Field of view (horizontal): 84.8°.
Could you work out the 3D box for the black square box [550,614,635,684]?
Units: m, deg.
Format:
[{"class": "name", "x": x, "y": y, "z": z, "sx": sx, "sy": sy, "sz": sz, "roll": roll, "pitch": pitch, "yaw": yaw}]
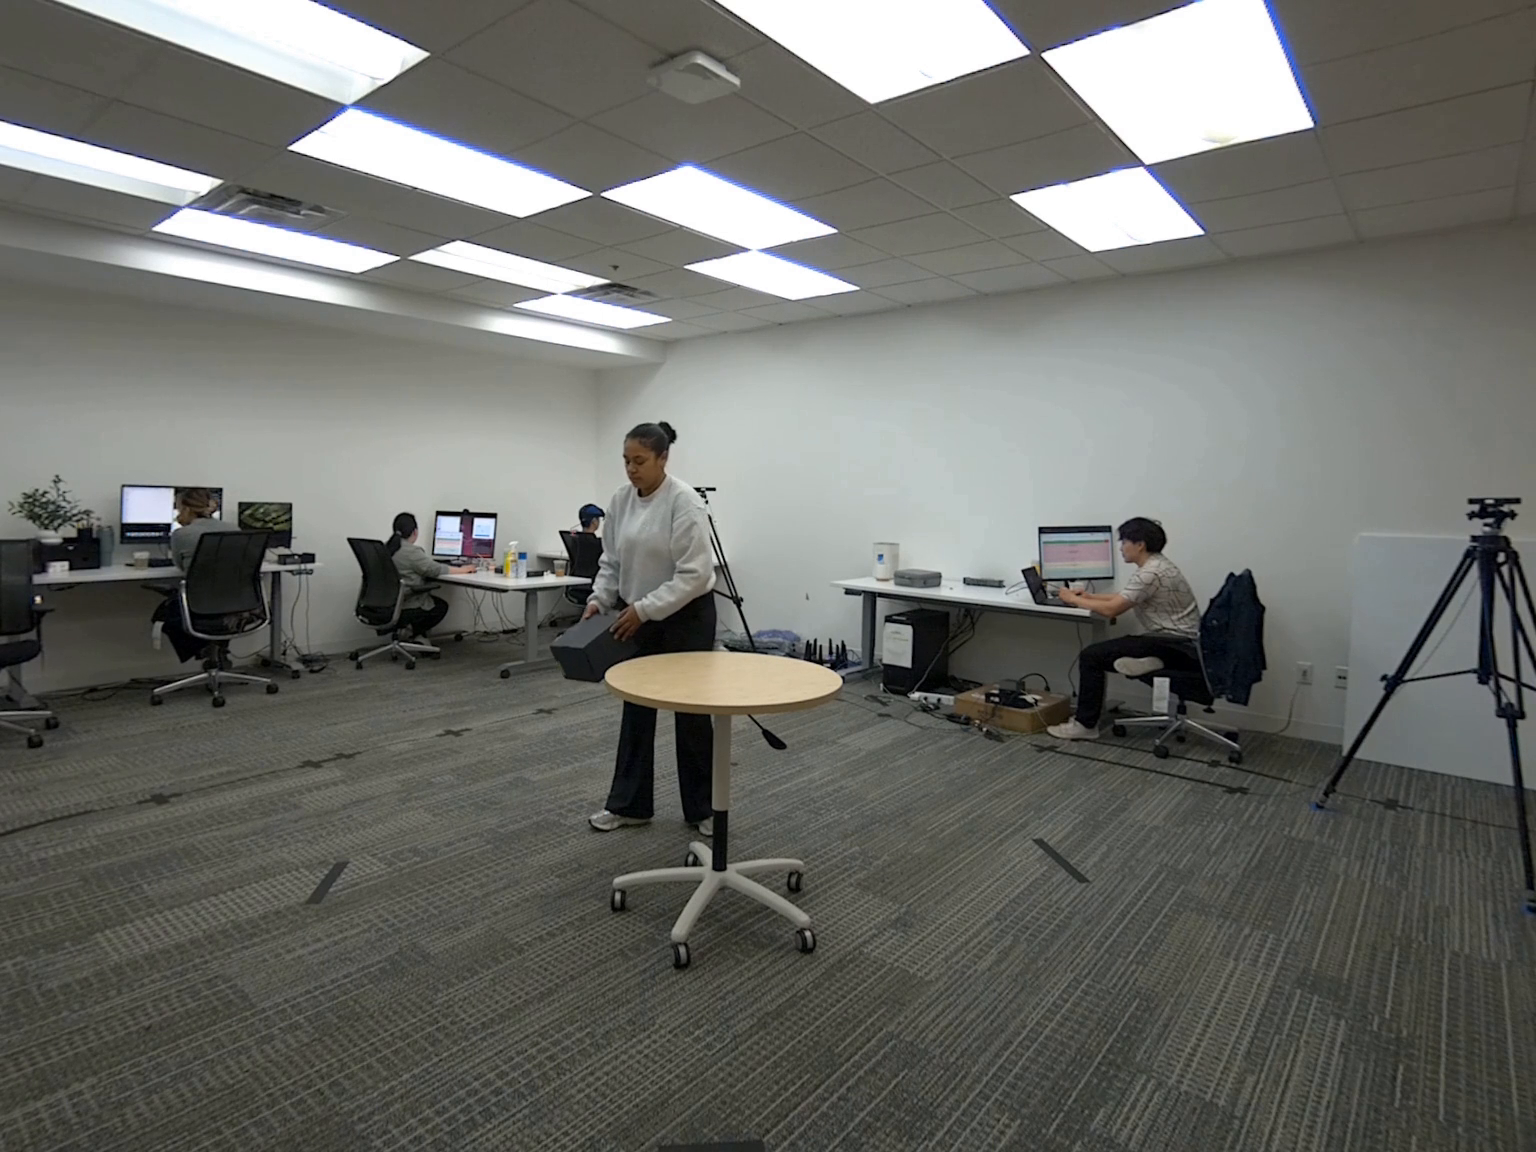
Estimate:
[{"class": "black square box", "x": -0.699, "y": 0.279, "z": 3.267, "sx": 0.223, "sy": 0.152, "sz": 0.226, "roll": -1, "pitch": 25, "yaw": 37}]
